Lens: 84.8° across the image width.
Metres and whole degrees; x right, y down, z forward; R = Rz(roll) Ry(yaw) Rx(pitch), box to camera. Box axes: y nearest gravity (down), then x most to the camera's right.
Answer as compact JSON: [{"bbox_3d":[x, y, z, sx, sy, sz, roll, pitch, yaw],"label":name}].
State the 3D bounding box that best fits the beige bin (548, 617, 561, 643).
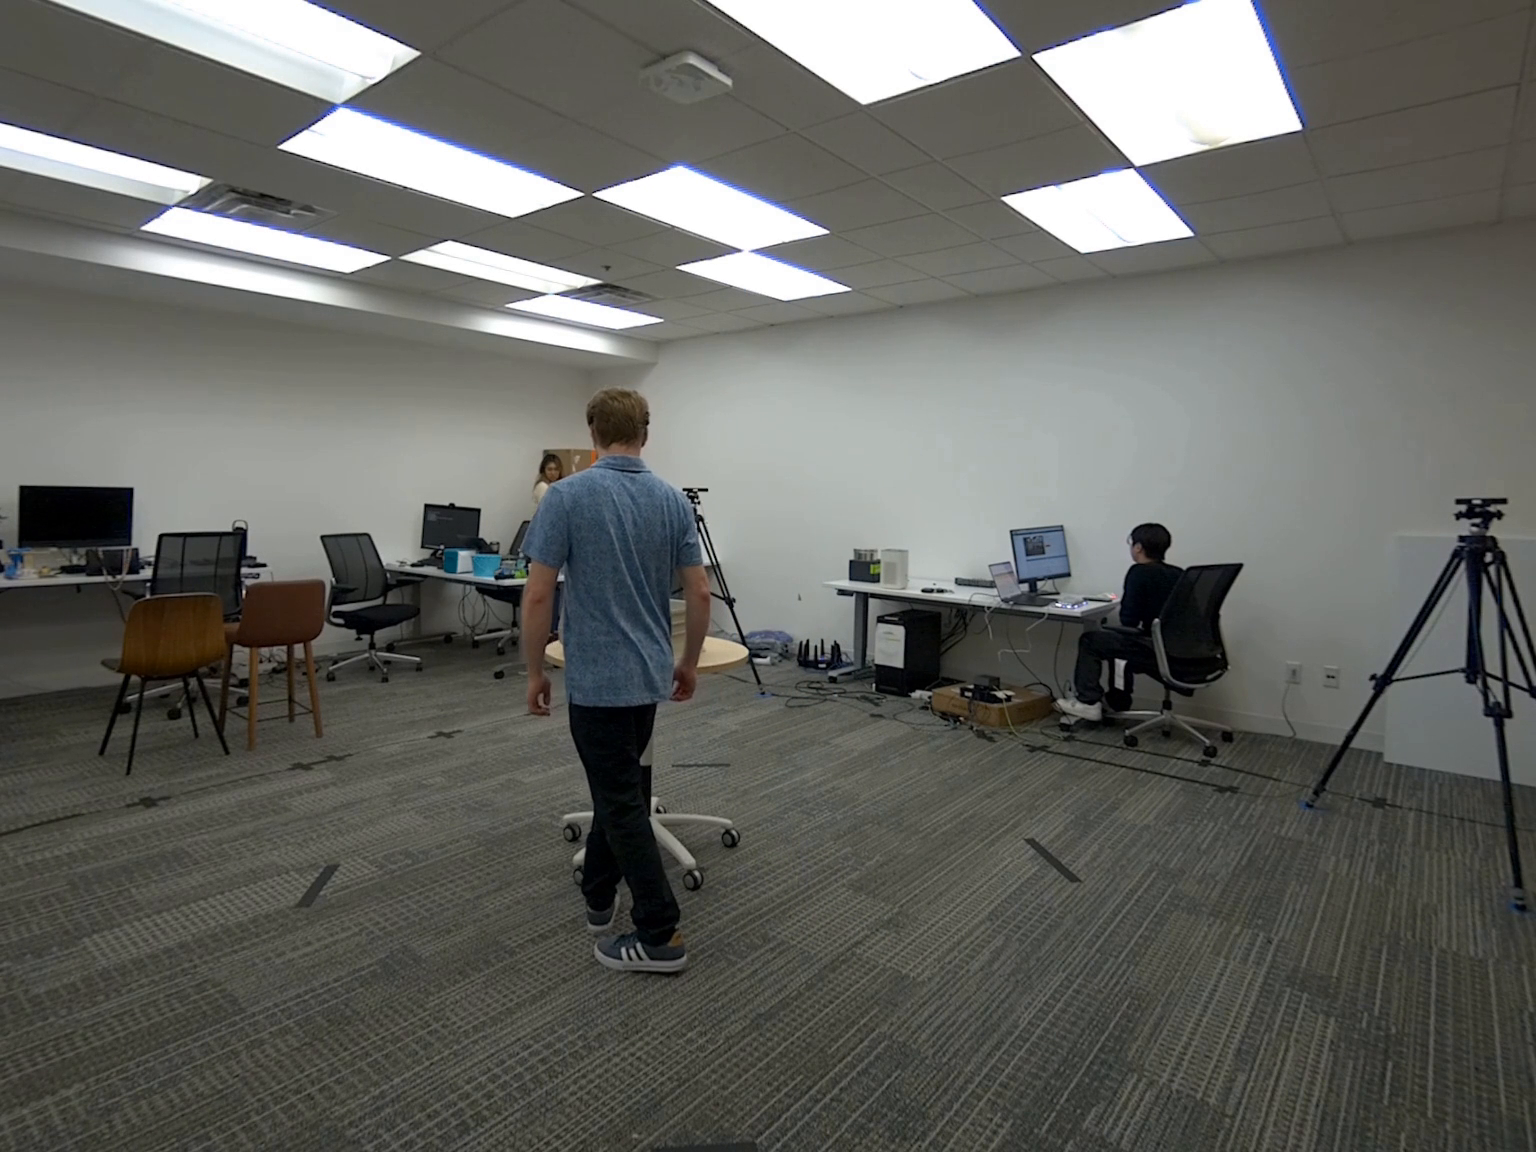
[{"bbox_3d":[-0.499,0.191,3.133,0.434,0.188,0.368,3,4,27],"label":"beige bin"}]
